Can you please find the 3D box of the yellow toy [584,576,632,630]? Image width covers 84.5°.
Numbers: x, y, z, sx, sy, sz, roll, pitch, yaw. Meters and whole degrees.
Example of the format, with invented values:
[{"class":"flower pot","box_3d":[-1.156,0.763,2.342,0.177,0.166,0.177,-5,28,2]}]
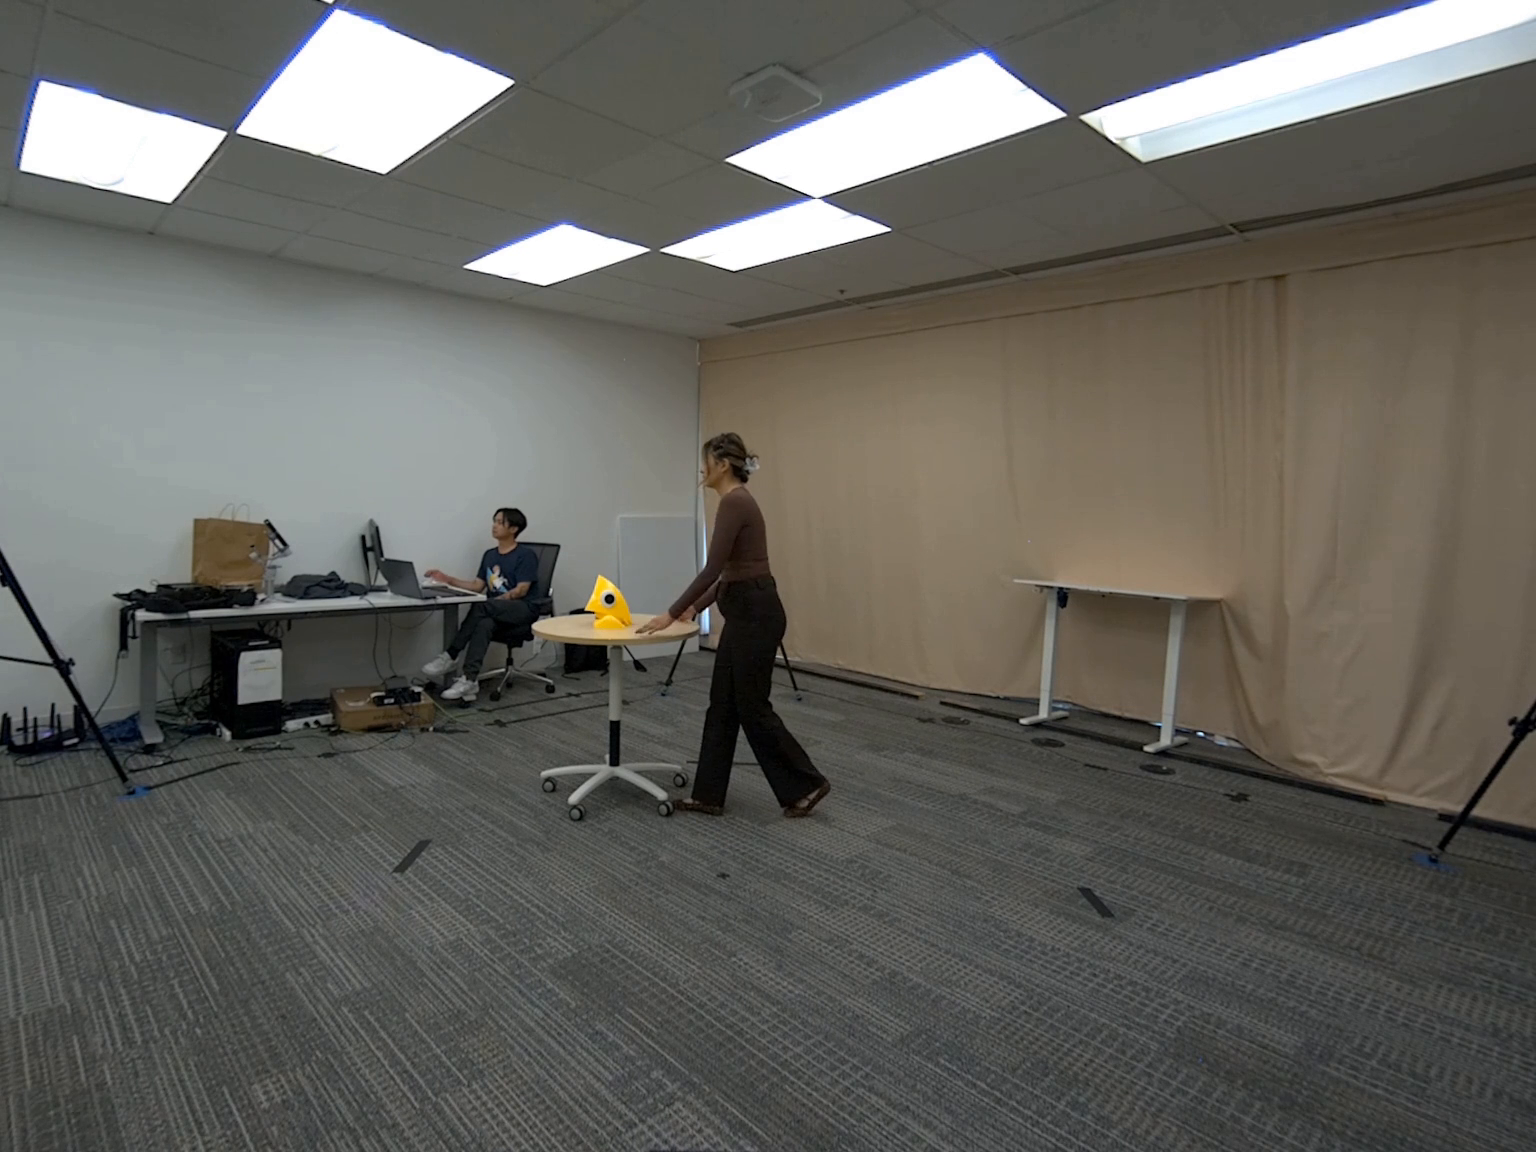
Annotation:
[{"class":"yellow toy","box_3d":[-0.723,0.112,3.871,0.194,0.230,0.204,2,4,7]}]
